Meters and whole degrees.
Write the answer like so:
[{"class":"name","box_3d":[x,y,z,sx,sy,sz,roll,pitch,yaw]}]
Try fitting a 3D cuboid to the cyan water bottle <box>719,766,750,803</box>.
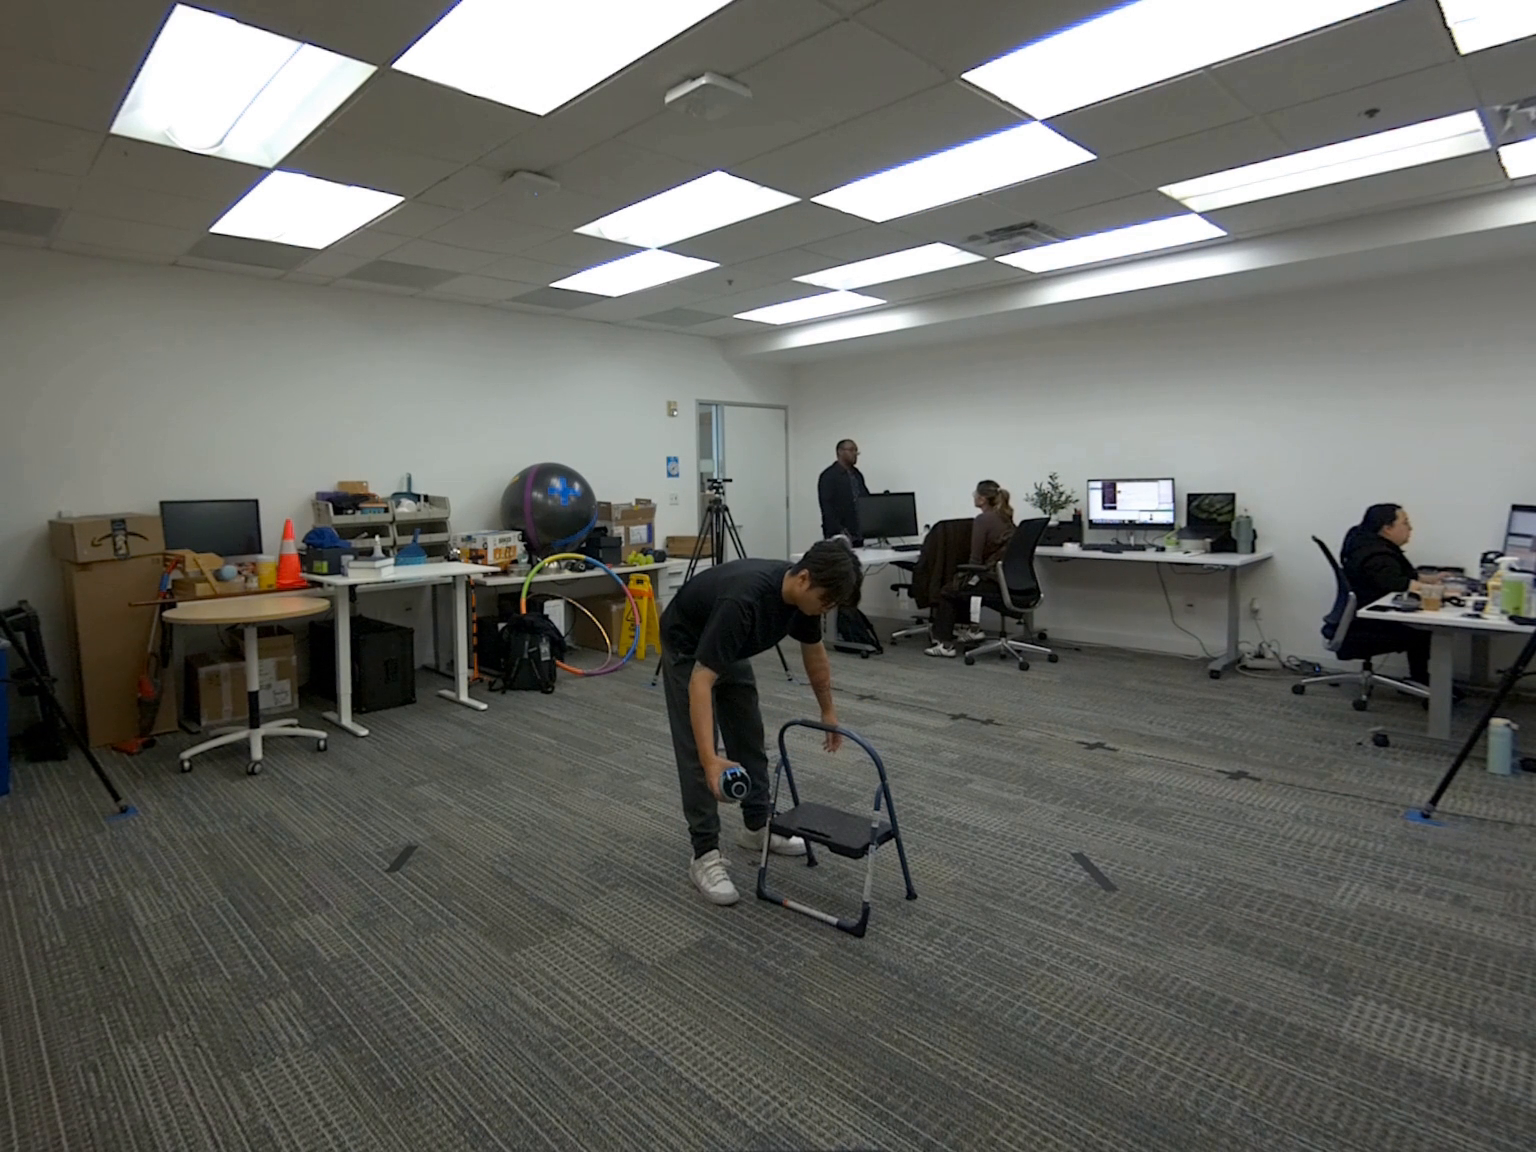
[{"class":"cyan water bottle","box_3d":[-0.096,0.624,2.553,0.092,0.093,0.281,-1,-12,-6]}]
